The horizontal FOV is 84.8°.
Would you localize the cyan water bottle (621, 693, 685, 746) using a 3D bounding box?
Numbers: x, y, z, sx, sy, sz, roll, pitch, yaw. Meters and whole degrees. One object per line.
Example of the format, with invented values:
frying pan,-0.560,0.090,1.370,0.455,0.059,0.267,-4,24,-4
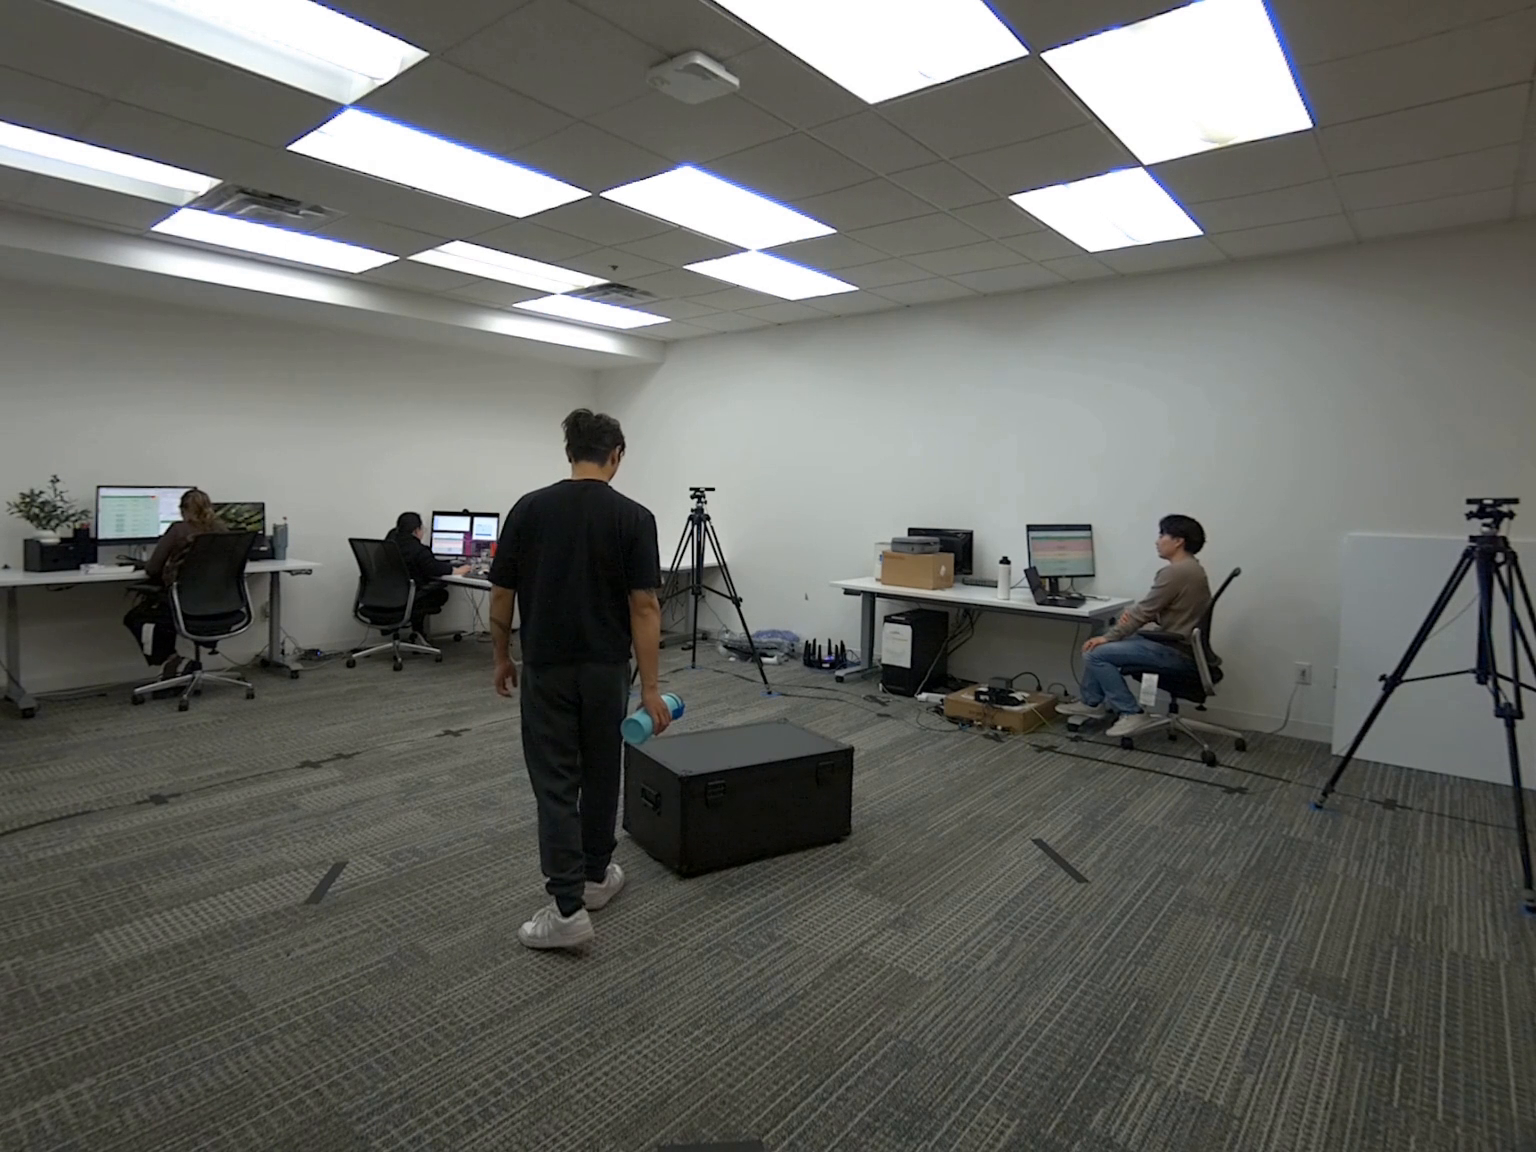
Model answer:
cyan water bottle,-0.371,0.446,2.716,0.095,0.091,0.279,3,12,24
